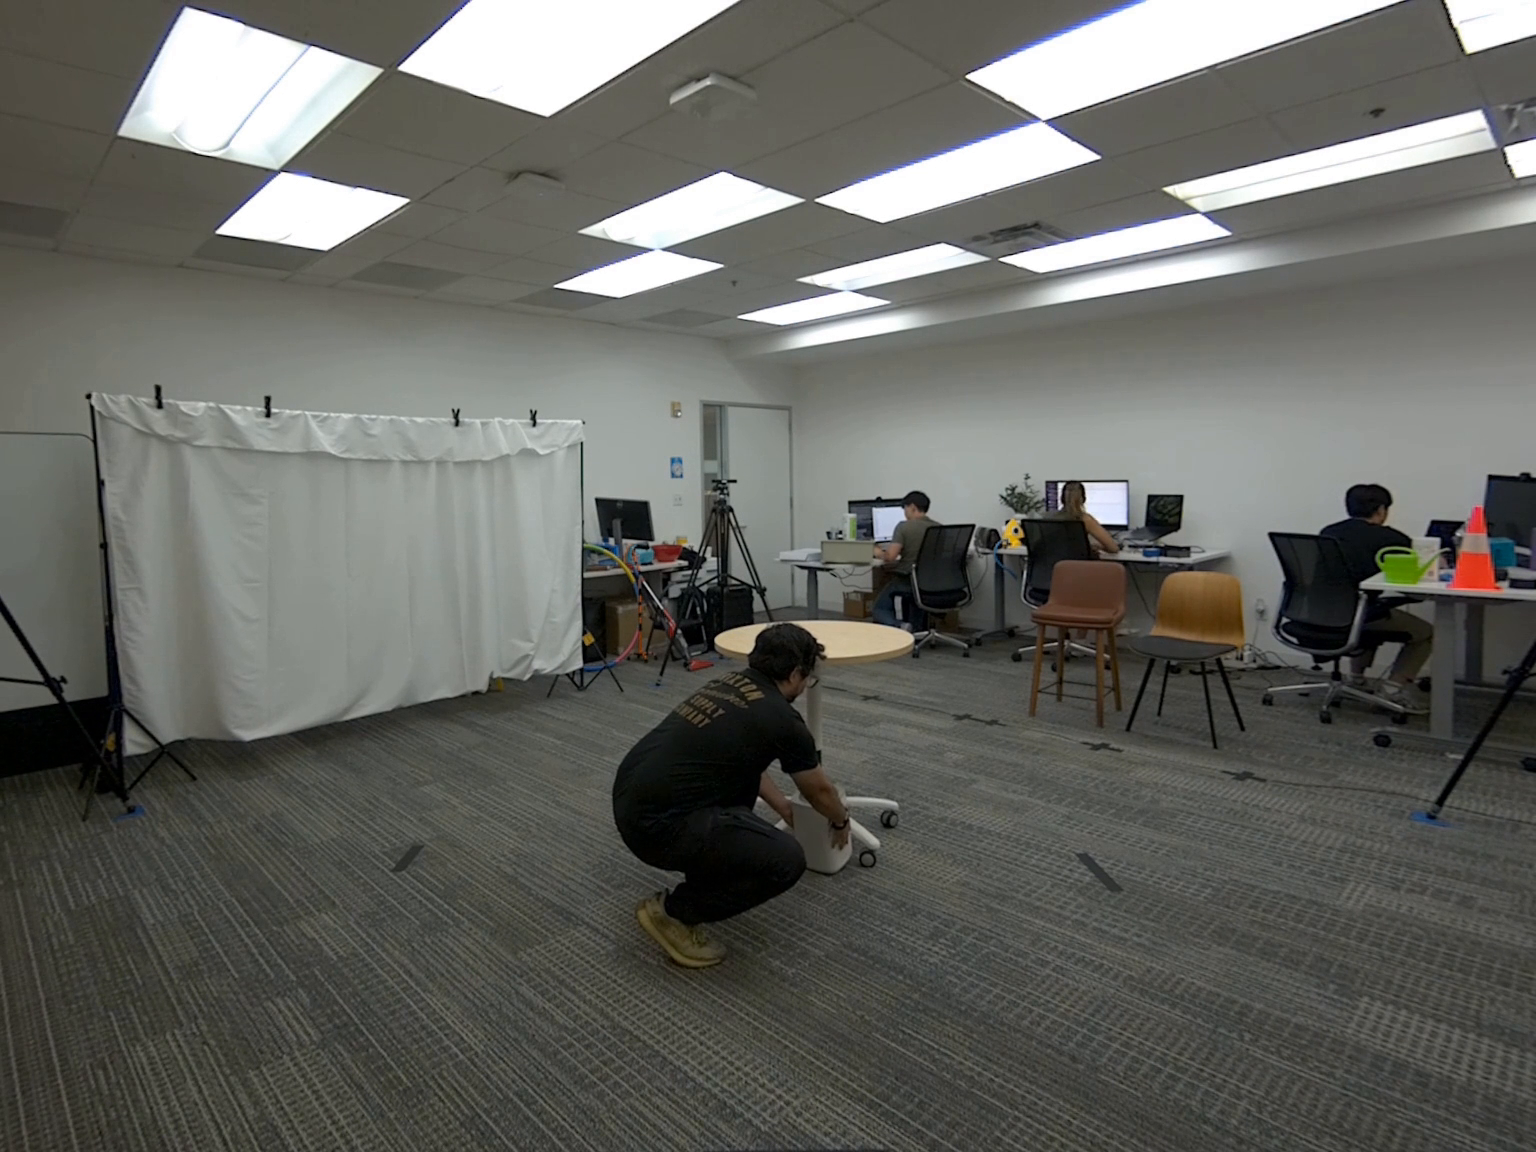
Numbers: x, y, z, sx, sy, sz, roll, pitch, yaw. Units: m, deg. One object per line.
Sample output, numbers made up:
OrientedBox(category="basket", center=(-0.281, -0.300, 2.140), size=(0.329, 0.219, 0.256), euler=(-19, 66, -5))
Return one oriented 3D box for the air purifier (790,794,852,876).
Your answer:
OrientedBox(category="air purifier", center=(0.202, 0.909, 3.072), size=(0.176, 0.263, 0.168), euler=(0, 12, 35))
